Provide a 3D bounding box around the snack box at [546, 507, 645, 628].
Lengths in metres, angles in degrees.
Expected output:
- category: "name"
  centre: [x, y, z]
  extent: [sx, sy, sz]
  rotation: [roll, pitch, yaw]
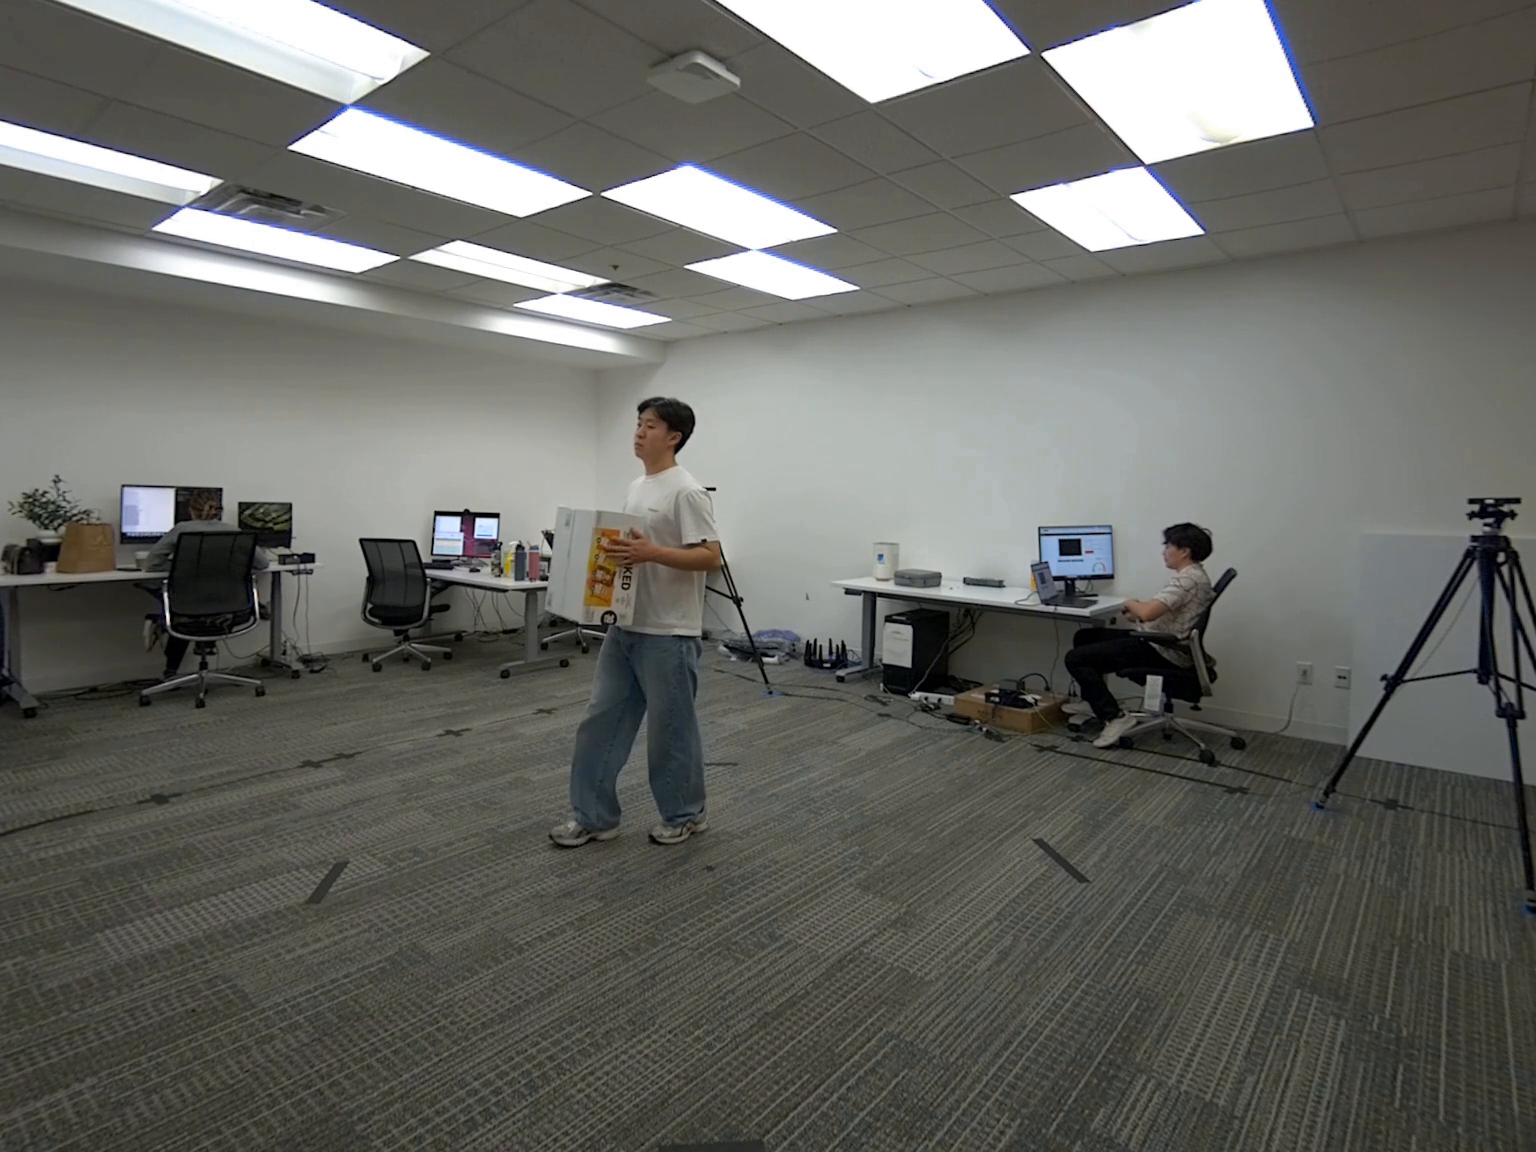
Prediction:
- category: "snack box"
  centre: [-0.665, -0.048, 3.167]
  extent: [0.199, 0.405, 0.352]
  rotation: [6, 1, -36]
